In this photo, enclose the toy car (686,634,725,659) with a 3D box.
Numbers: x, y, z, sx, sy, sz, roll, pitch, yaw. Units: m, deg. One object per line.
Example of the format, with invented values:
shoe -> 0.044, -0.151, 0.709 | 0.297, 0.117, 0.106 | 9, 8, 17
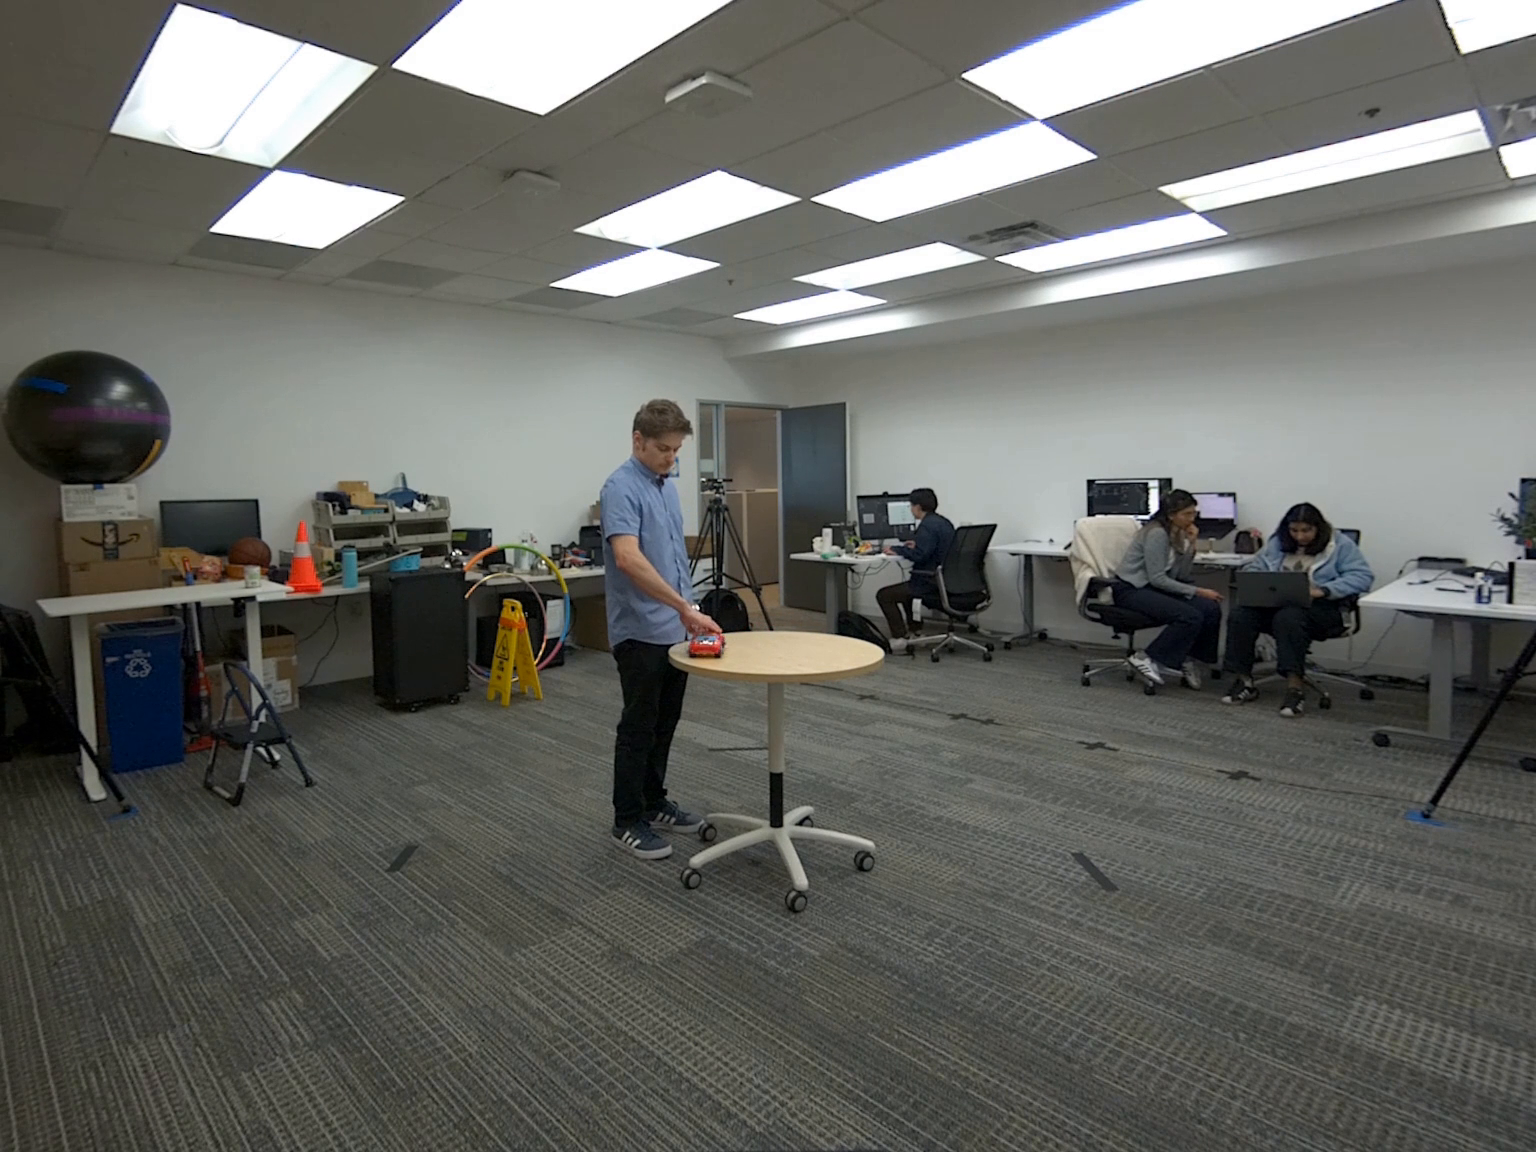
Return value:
toy car -> -0.211, 0.238, 3.029 | 0.130, 0.082, 0.258 | -2, 17, 0
